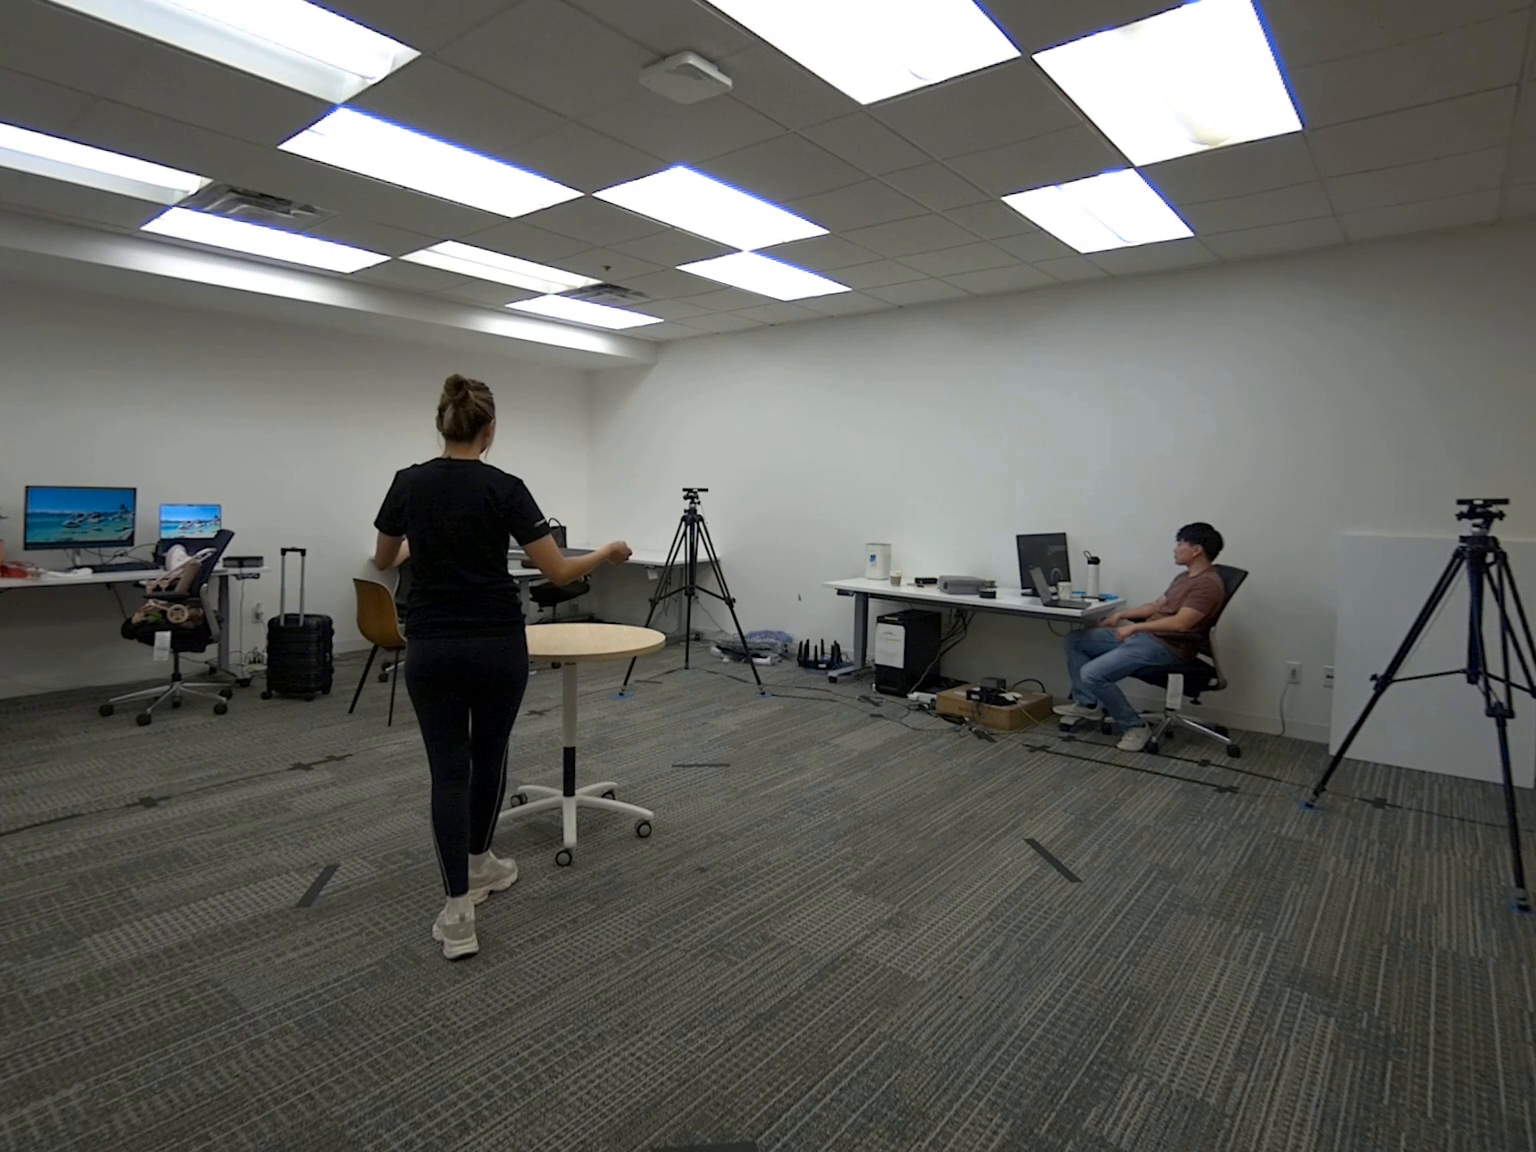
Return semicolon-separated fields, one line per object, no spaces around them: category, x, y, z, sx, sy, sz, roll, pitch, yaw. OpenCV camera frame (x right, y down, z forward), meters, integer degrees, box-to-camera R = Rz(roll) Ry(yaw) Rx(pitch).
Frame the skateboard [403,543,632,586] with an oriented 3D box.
skateboard;-0.898;-0.054;3.023;0.794;0.110;0.192;3;6;10
